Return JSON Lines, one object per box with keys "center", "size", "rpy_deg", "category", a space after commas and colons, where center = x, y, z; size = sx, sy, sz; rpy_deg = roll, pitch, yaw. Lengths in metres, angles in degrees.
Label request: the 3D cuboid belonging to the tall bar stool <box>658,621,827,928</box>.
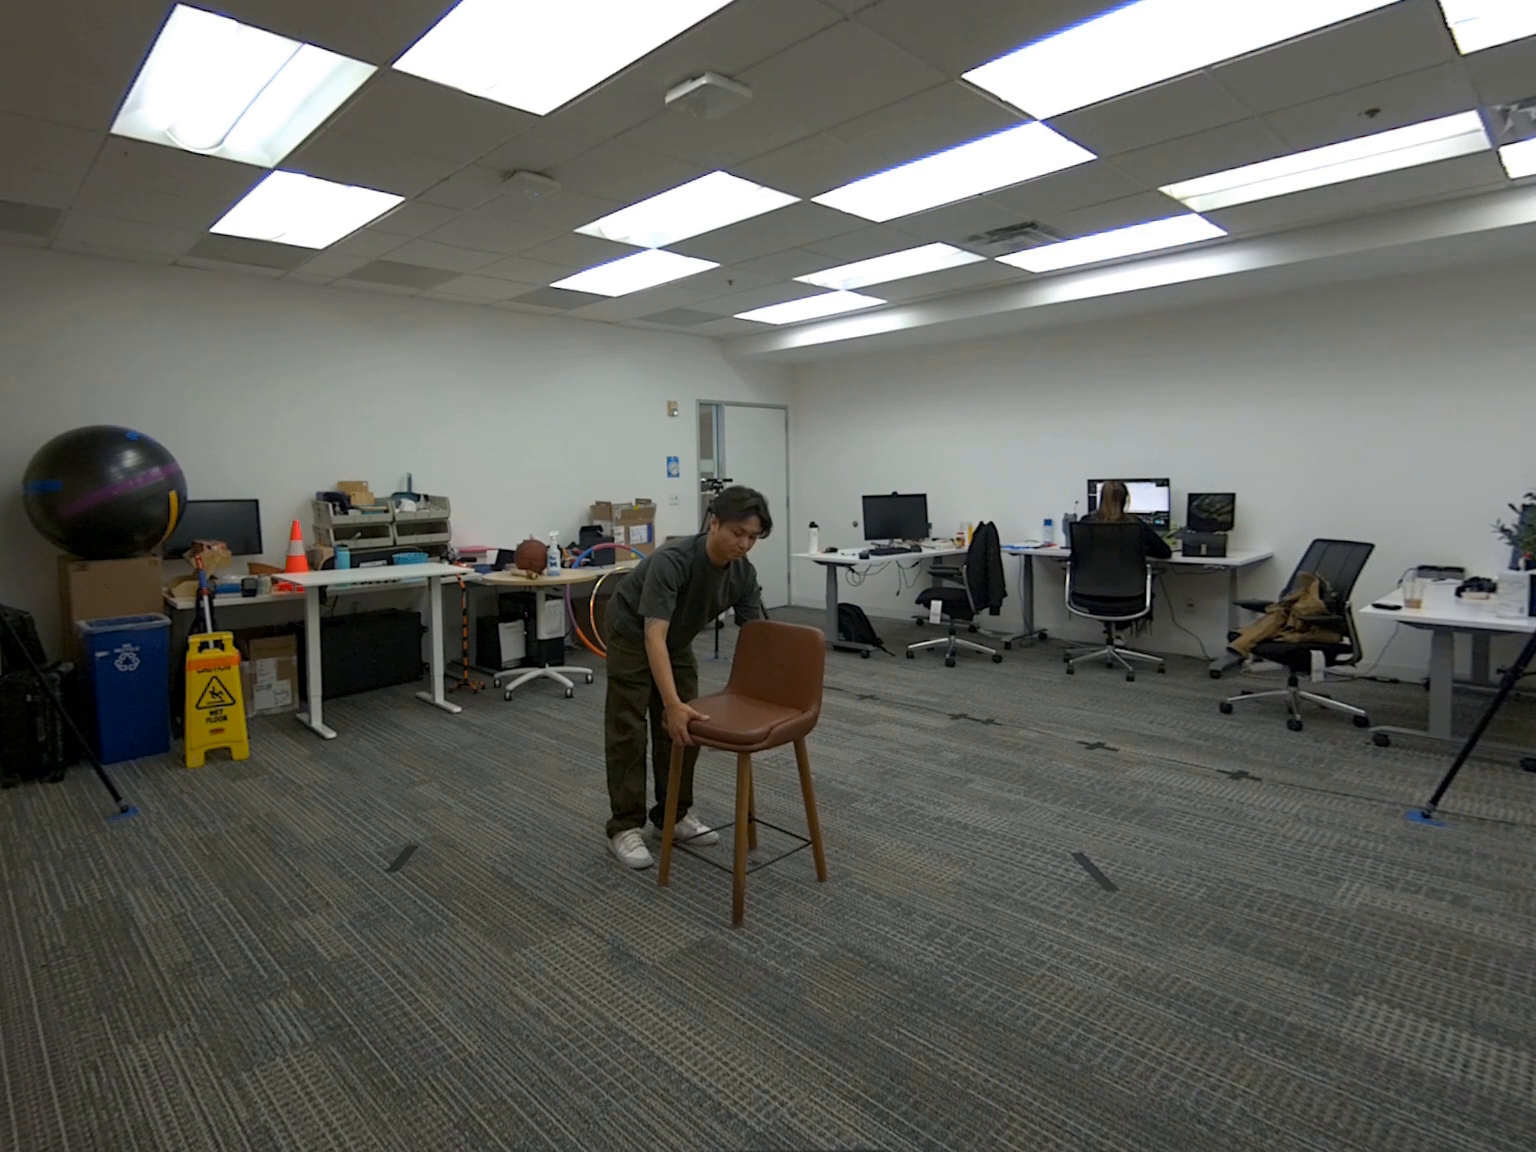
{"center": [-0.078, 0.626, 2.926], "size": [0.455, 0.887, 0.471], "rpy_deg": [-3, 5, -44], "category": "tall bar stool"}
